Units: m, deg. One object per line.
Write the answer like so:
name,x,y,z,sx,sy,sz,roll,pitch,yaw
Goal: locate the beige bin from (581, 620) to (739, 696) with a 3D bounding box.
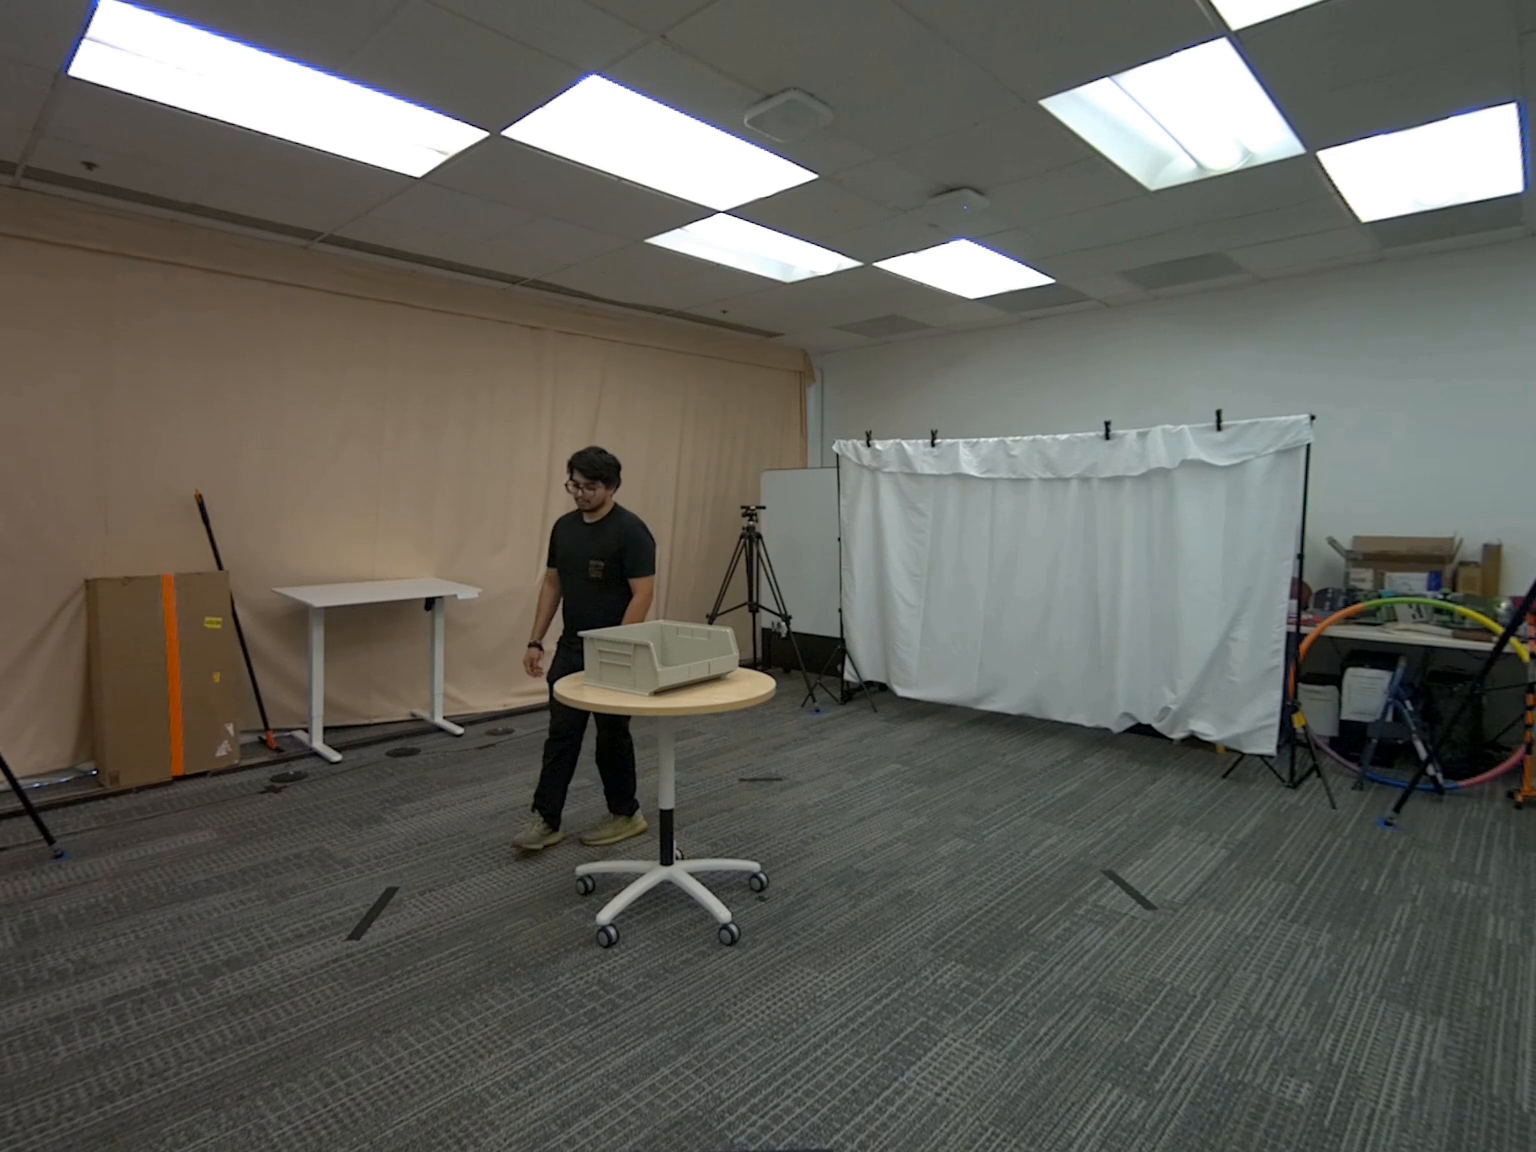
beige bin,-0.372,0.280,2.931,0.389,0.188,0.410,2,4,38
